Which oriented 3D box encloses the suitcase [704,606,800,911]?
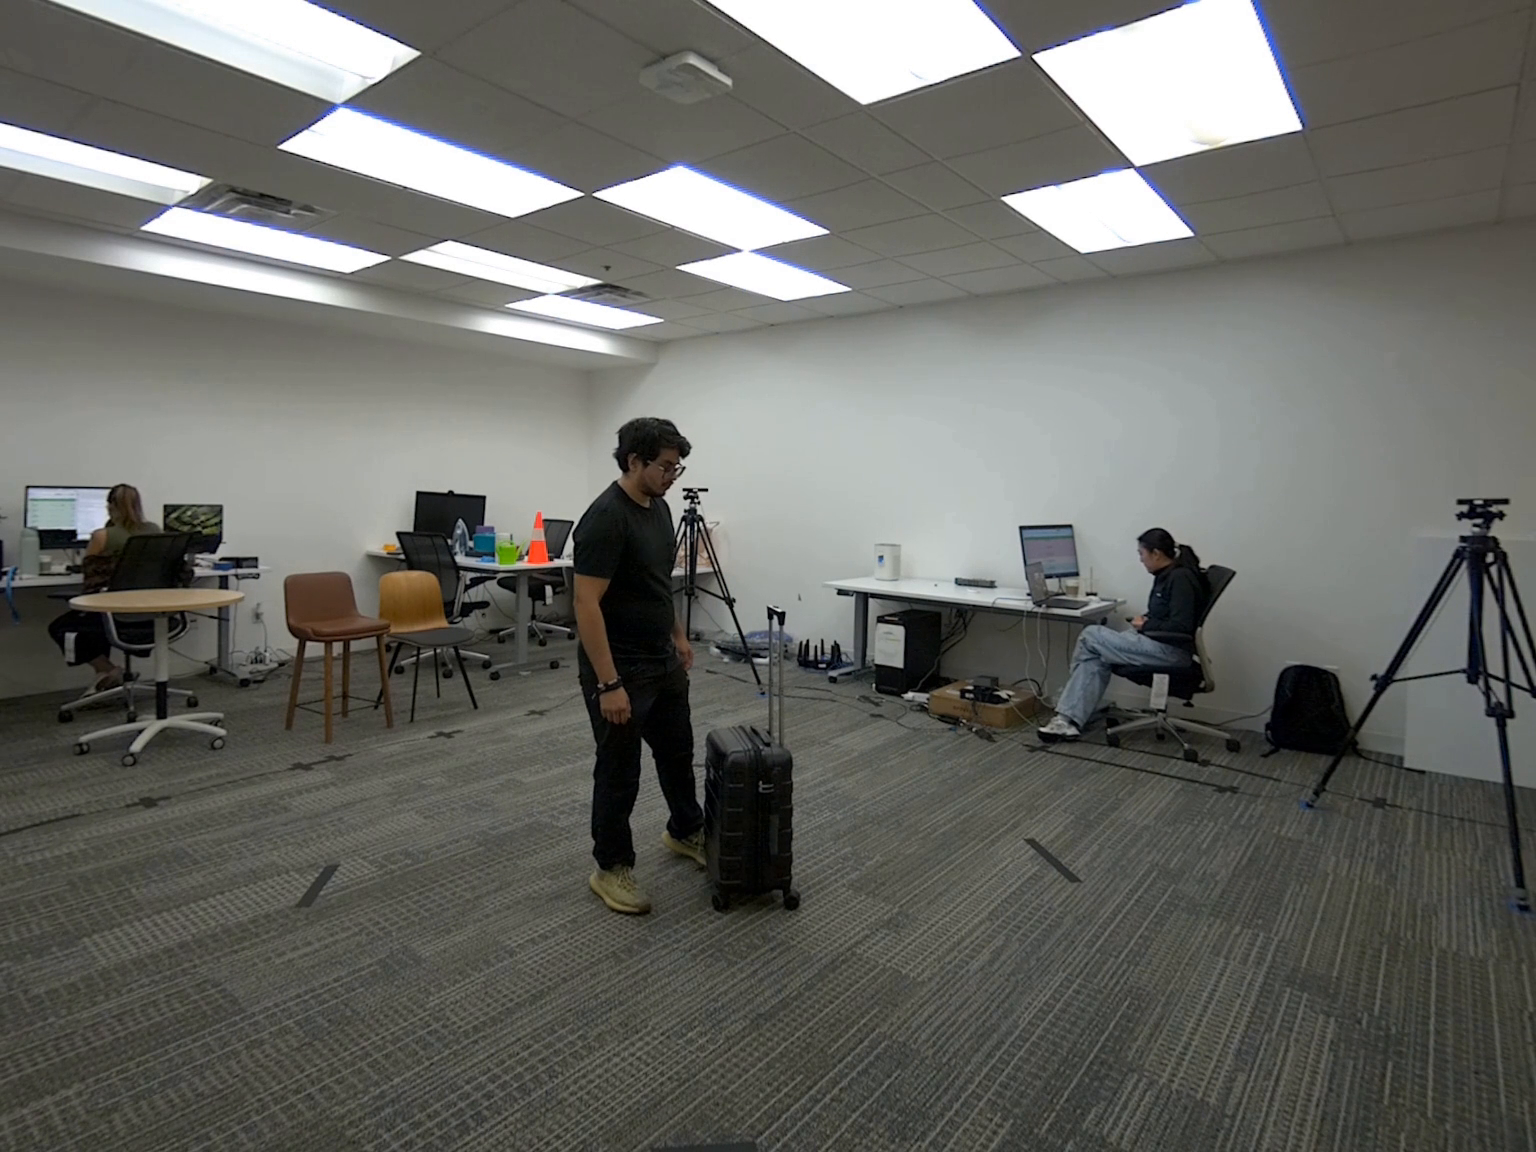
[{"bbox_3d":[-0.079,0.613,2.932,0.254,0.976,0.390,1,3,-13],"label":"suitcase"}]
